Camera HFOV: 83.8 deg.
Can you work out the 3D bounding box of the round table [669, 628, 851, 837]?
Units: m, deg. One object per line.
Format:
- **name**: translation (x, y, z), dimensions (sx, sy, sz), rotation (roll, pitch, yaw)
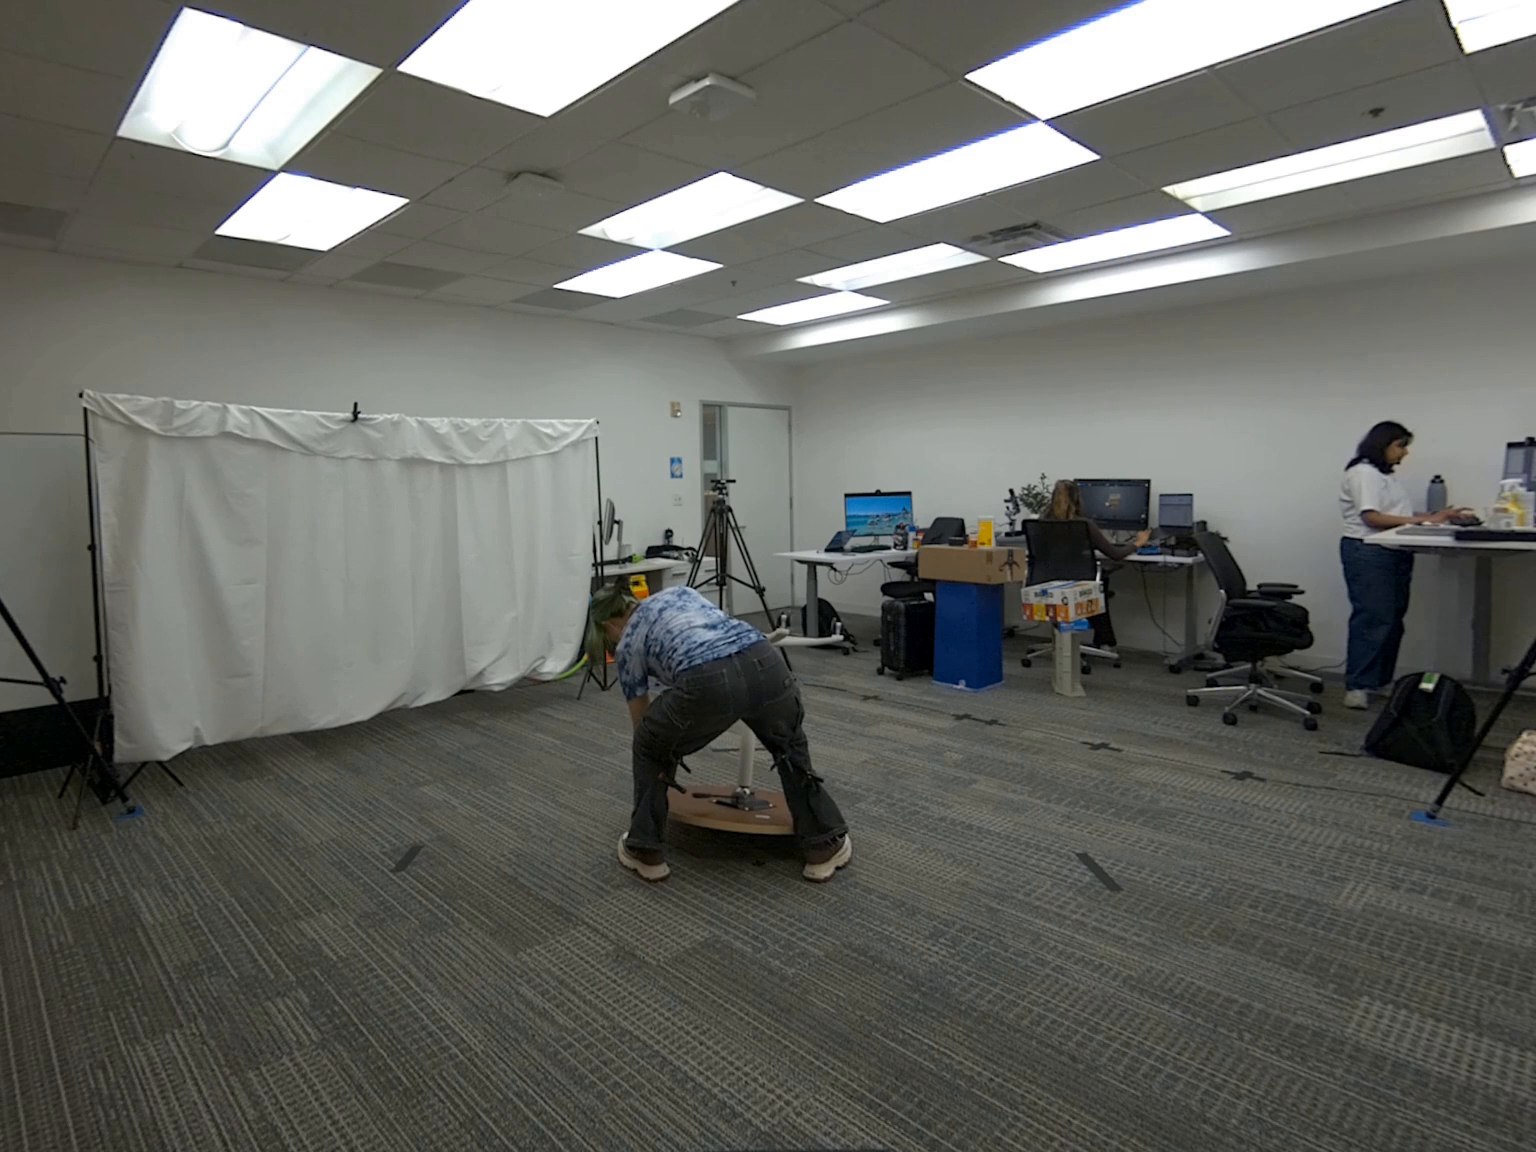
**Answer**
- **round table**: translation (-0.063, 0.552, 3.447), dimensions (0.764, 0.798, 0.760), rotation (5, -6, -1)
